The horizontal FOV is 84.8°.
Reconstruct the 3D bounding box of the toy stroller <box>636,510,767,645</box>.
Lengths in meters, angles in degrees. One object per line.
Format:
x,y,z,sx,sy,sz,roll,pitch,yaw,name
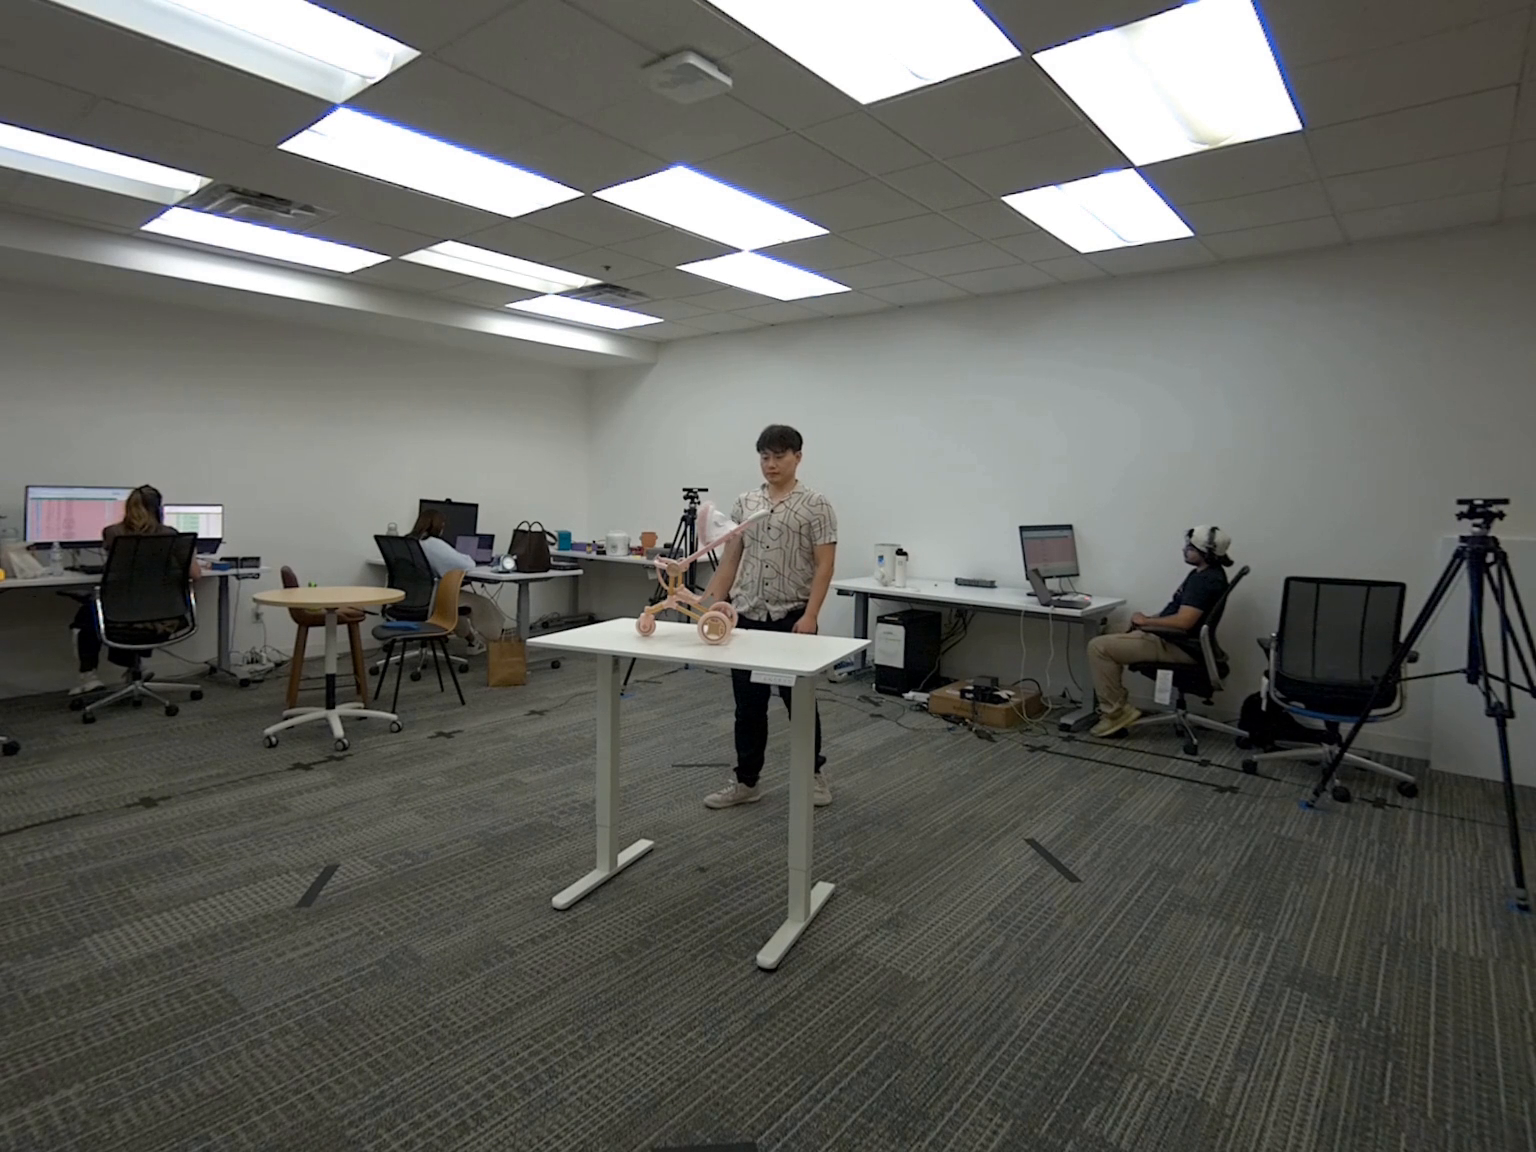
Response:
-0.241,-0.014,2.880,0.346,0.533,0.279,16,5,9,toy stroller
